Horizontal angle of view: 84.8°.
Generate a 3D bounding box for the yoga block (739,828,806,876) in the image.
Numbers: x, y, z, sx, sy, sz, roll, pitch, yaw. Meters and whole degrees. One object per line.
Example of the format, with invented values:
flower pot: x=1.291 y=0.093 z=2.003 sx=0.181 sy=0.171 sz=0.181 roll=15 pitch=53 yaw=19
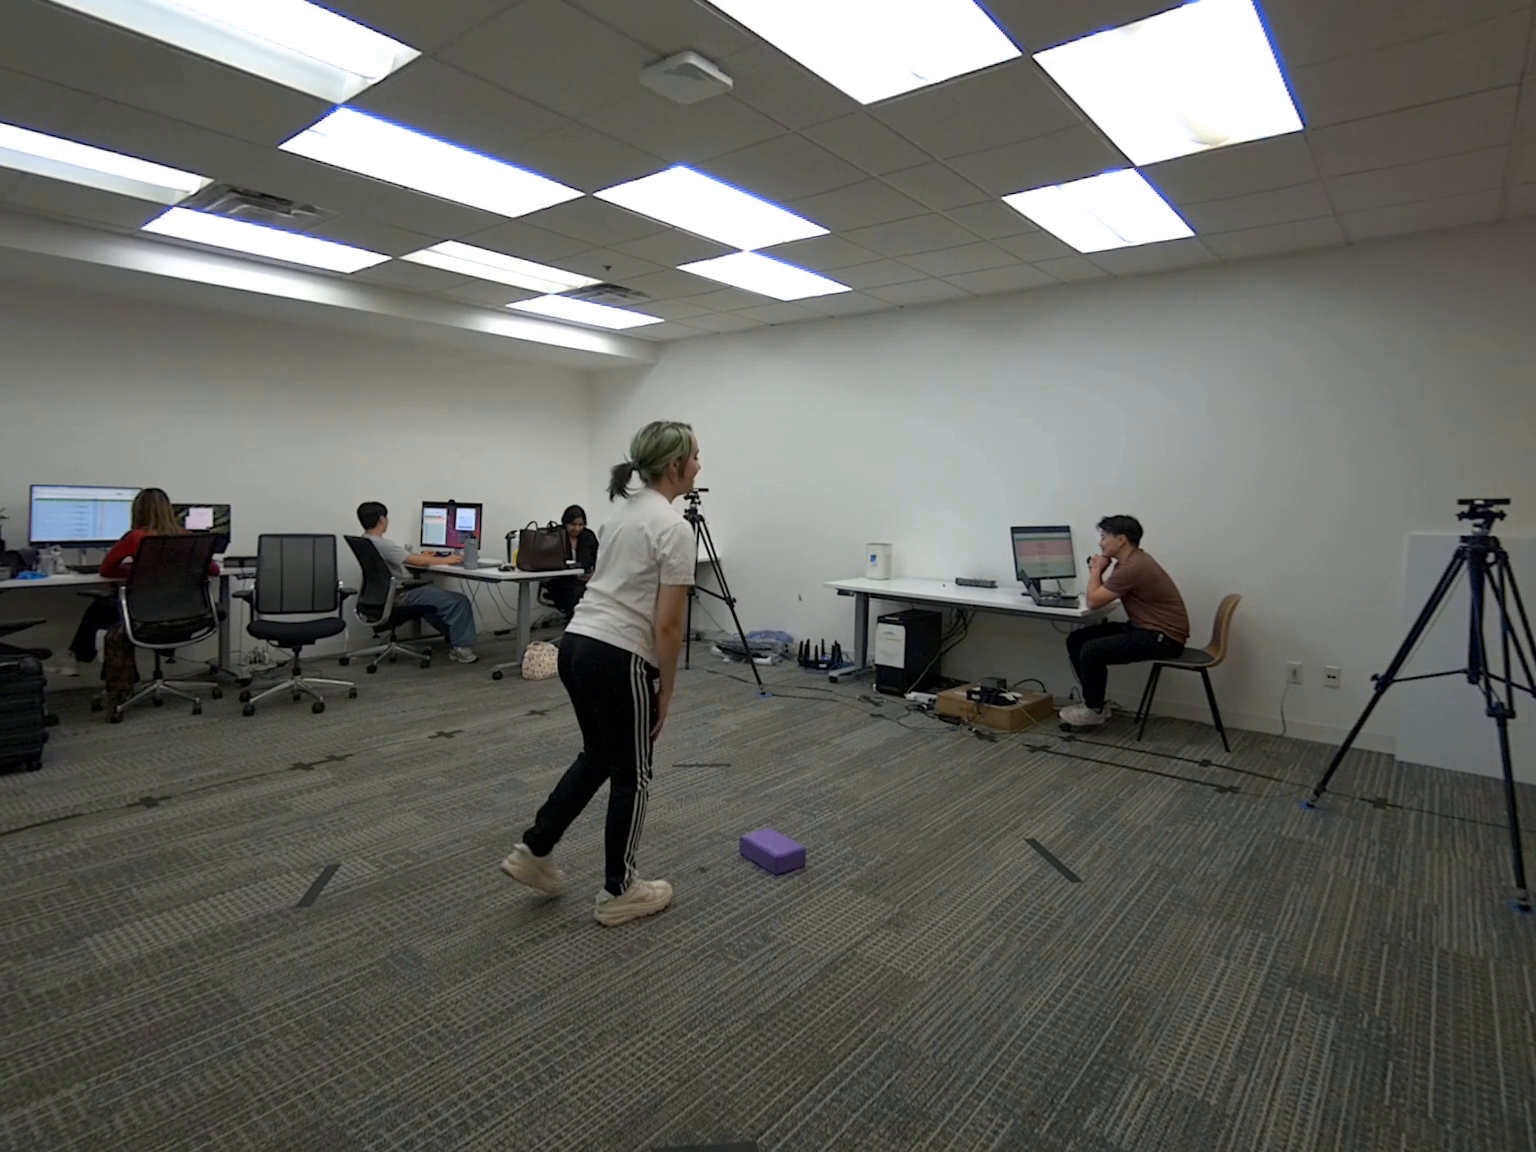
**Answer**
yoga block: x=0.010 y=1.028 z=3.193 sx=0.144 sy=0.076 sz=0.237 roll=-2 pitch=6 yaw=-37
